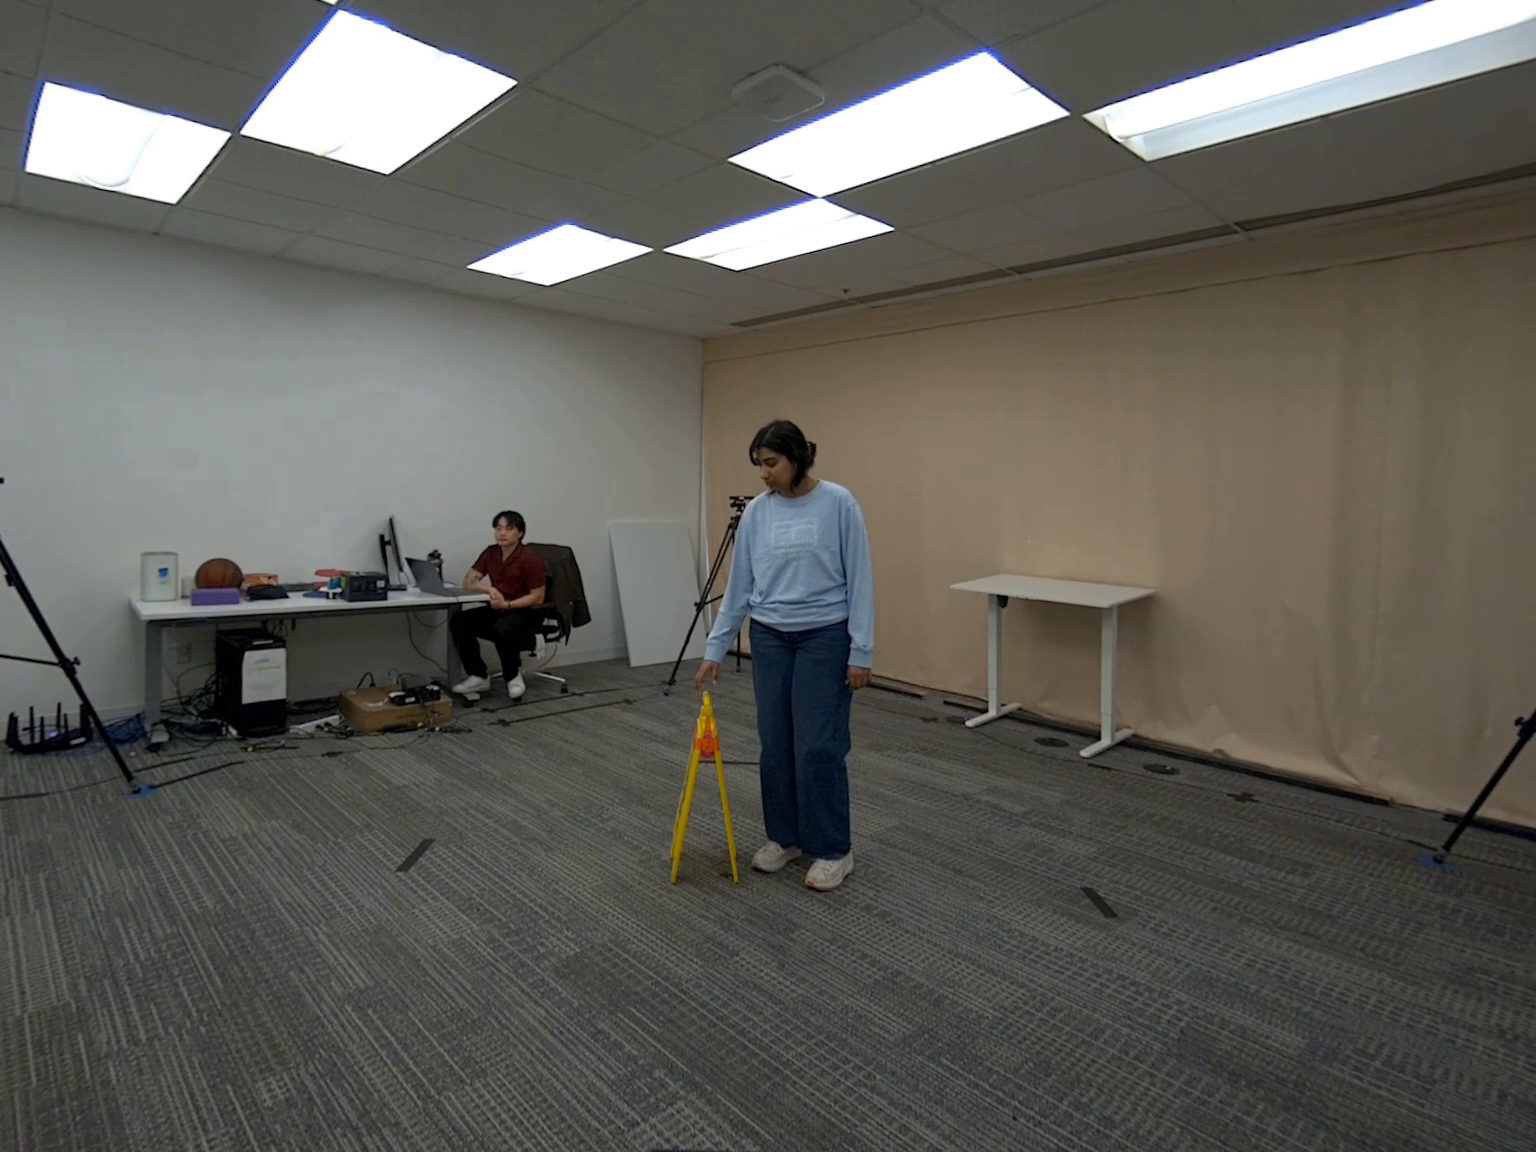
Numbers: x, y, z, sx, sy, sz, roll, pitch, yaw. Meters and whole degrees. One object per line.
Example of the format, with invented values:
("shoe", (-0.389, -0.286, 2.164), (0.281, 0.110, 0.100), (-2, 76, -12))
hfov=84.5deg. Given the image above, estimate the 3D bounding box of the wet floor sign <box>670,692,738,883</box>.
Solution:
("wet floor sign", (-0.241, 0.773, 3.153), (0.289, 0.645, 0.284), (0, 3, -4))
